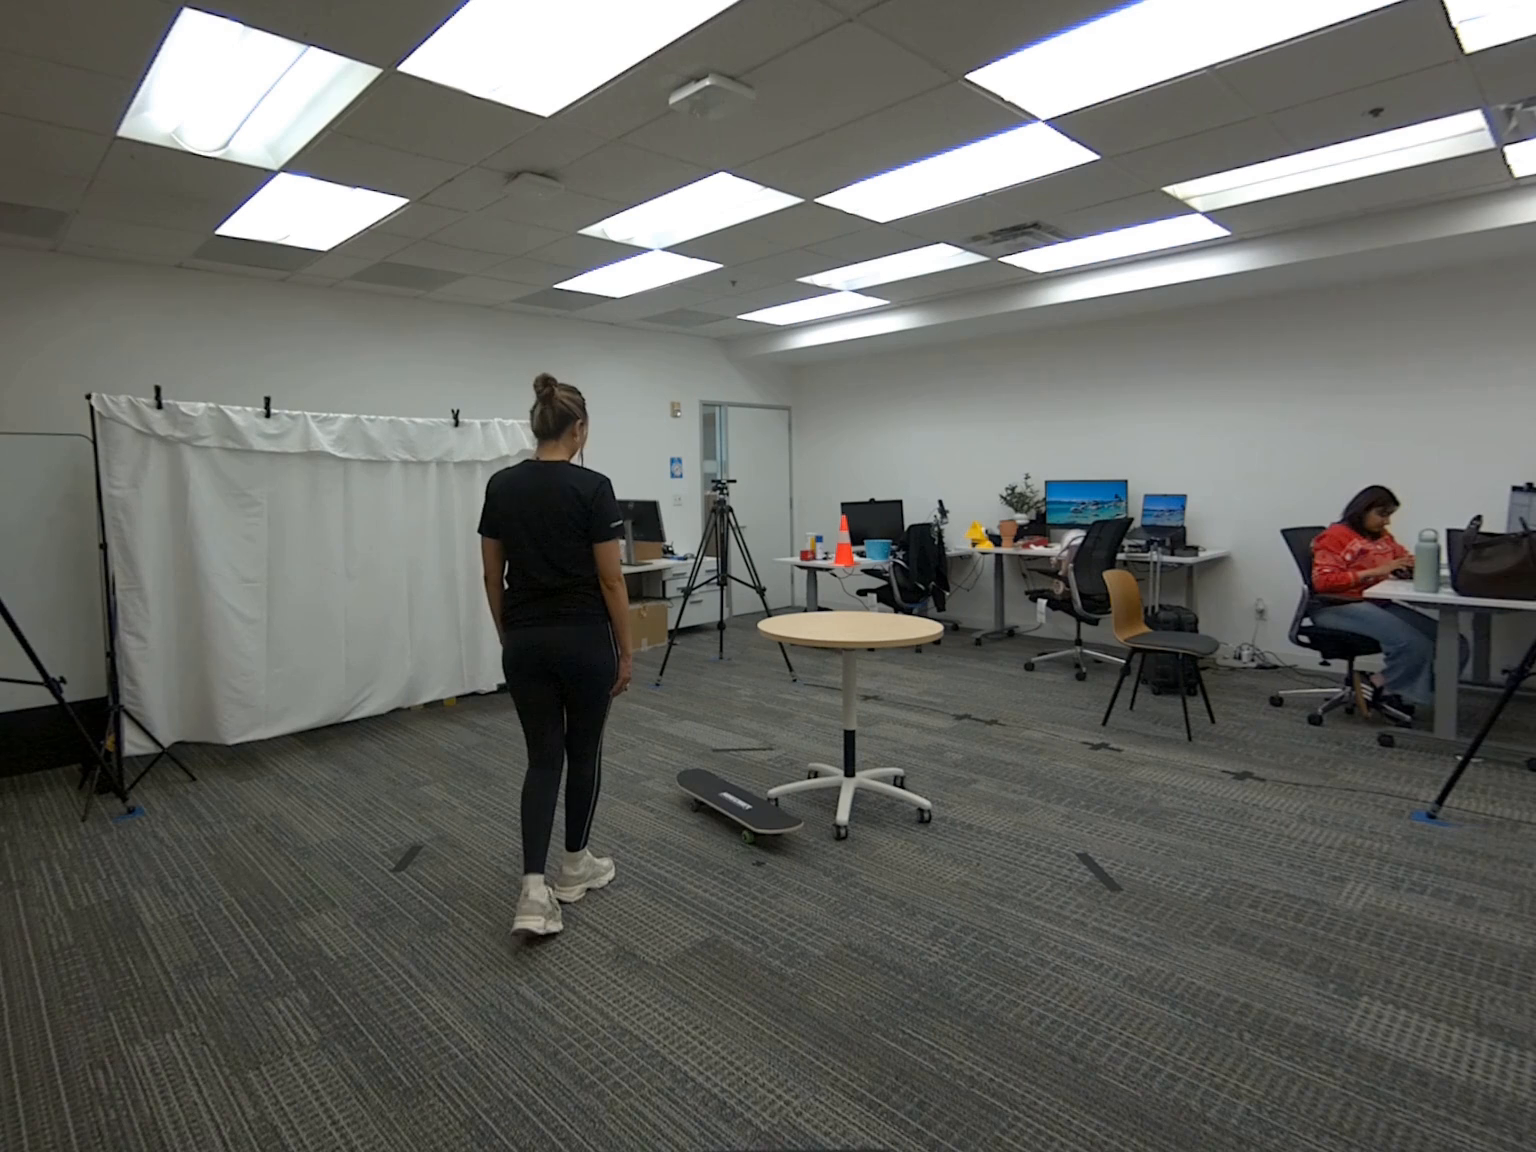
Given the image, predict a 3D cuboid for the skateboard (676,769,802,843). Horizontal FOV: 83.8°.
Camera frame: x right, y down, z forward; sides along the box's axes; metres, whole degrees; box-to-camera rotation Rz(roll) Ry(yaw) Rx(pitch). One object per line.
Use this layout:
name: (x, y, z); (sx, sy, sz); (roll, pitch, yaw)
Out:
skateboard: (-0.128, 0.951, 3.489); (0.189, 0.110, 0.808); (-6, 7, -34)
